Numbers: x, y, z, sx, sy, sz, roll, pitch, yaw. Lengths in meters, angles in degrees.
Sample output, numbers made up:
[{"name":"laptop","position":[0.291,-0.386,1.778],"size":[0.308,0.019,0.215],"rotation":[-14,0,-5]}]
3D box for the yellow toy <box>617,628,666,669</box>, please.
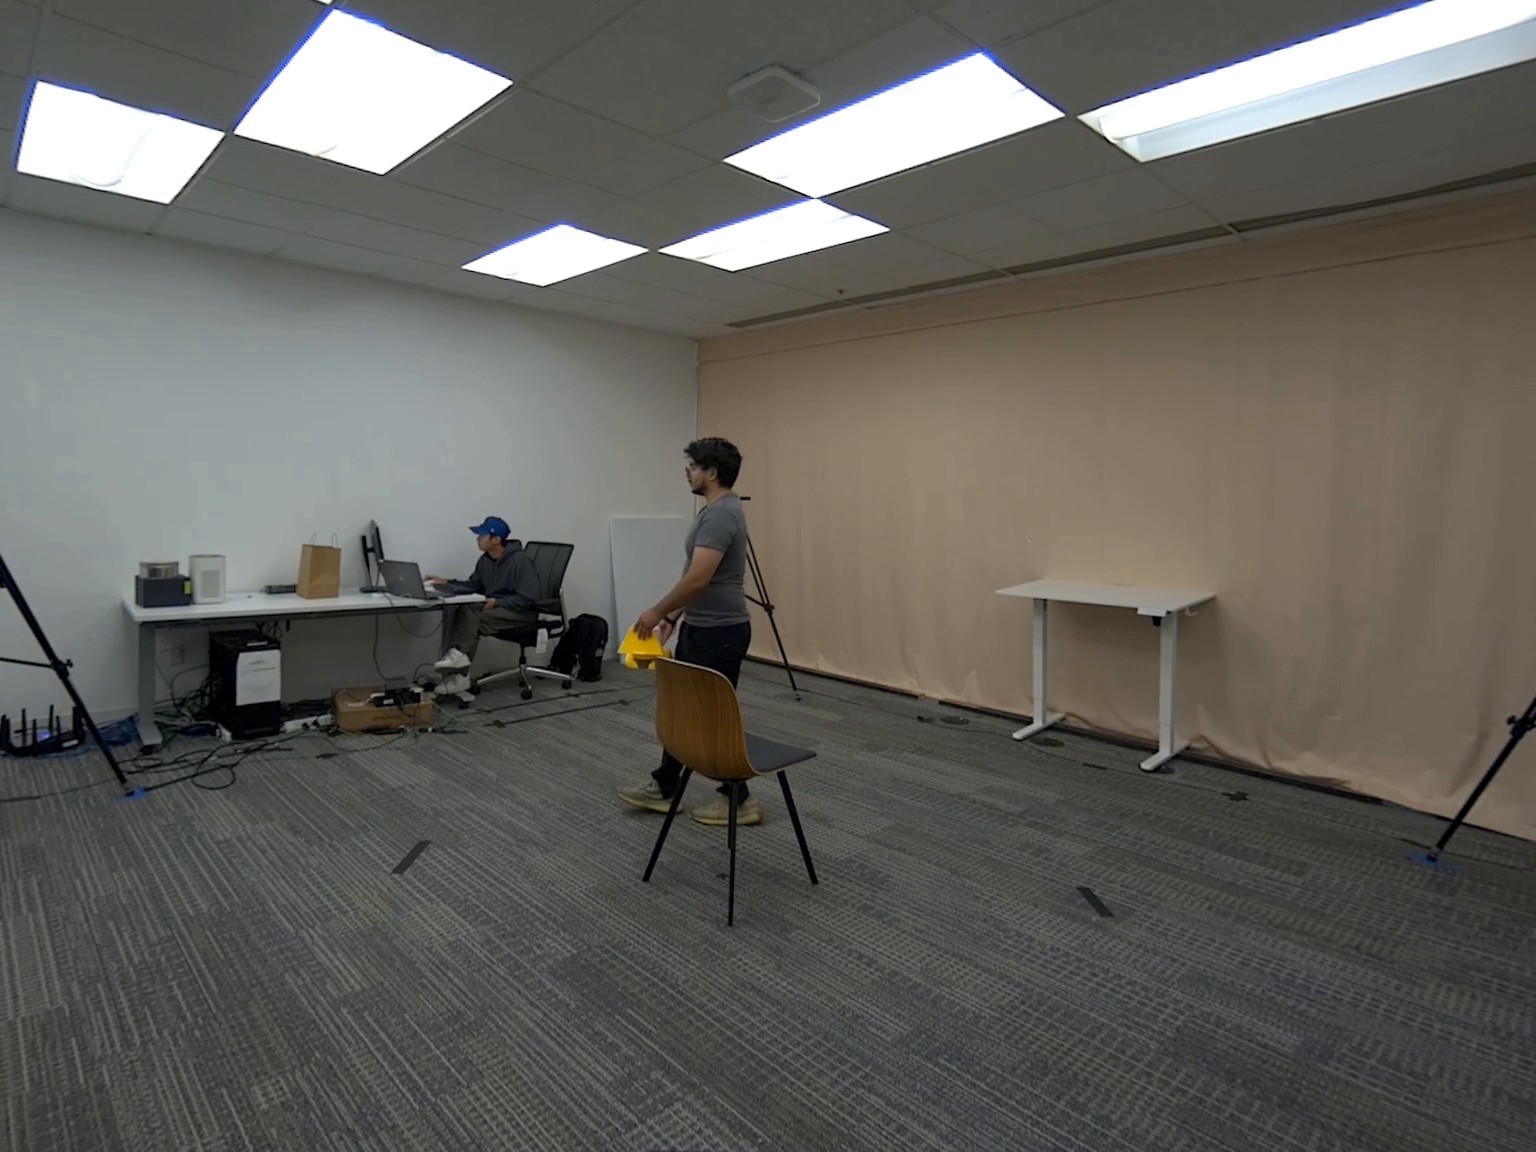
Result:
[{"name":"yellow toy","position":[-0.529,0.266,3.628],"size":[0.207,0.228,0.193],"rotation":[2,18,14]}]
